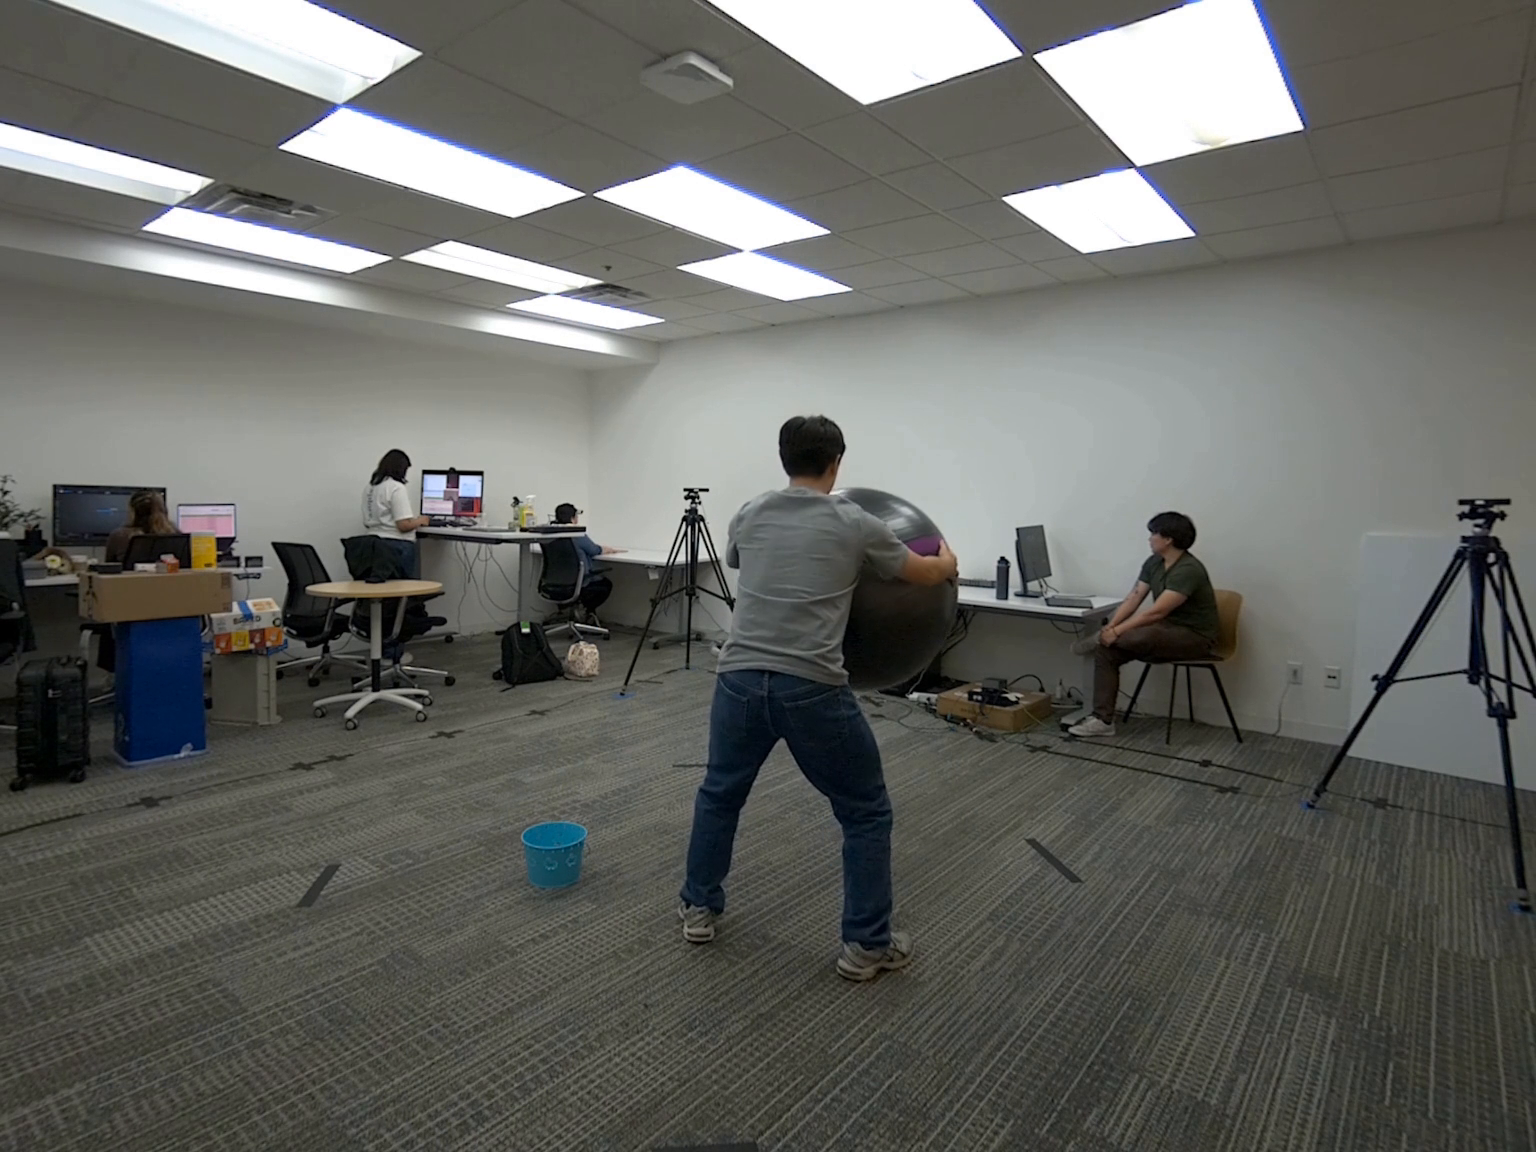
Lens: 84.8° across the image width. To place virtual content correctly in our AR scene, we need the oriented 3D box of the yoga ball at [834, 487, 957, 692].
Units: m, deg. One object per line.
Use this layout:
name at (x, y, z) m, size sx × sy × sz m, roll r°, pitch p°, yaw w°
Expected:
yoga ball at (0.323, 0.053, 3.195) m, size 0.757 × 0.755 × 0.762 m, roll 1°, pitch 4°, yaw -2°
